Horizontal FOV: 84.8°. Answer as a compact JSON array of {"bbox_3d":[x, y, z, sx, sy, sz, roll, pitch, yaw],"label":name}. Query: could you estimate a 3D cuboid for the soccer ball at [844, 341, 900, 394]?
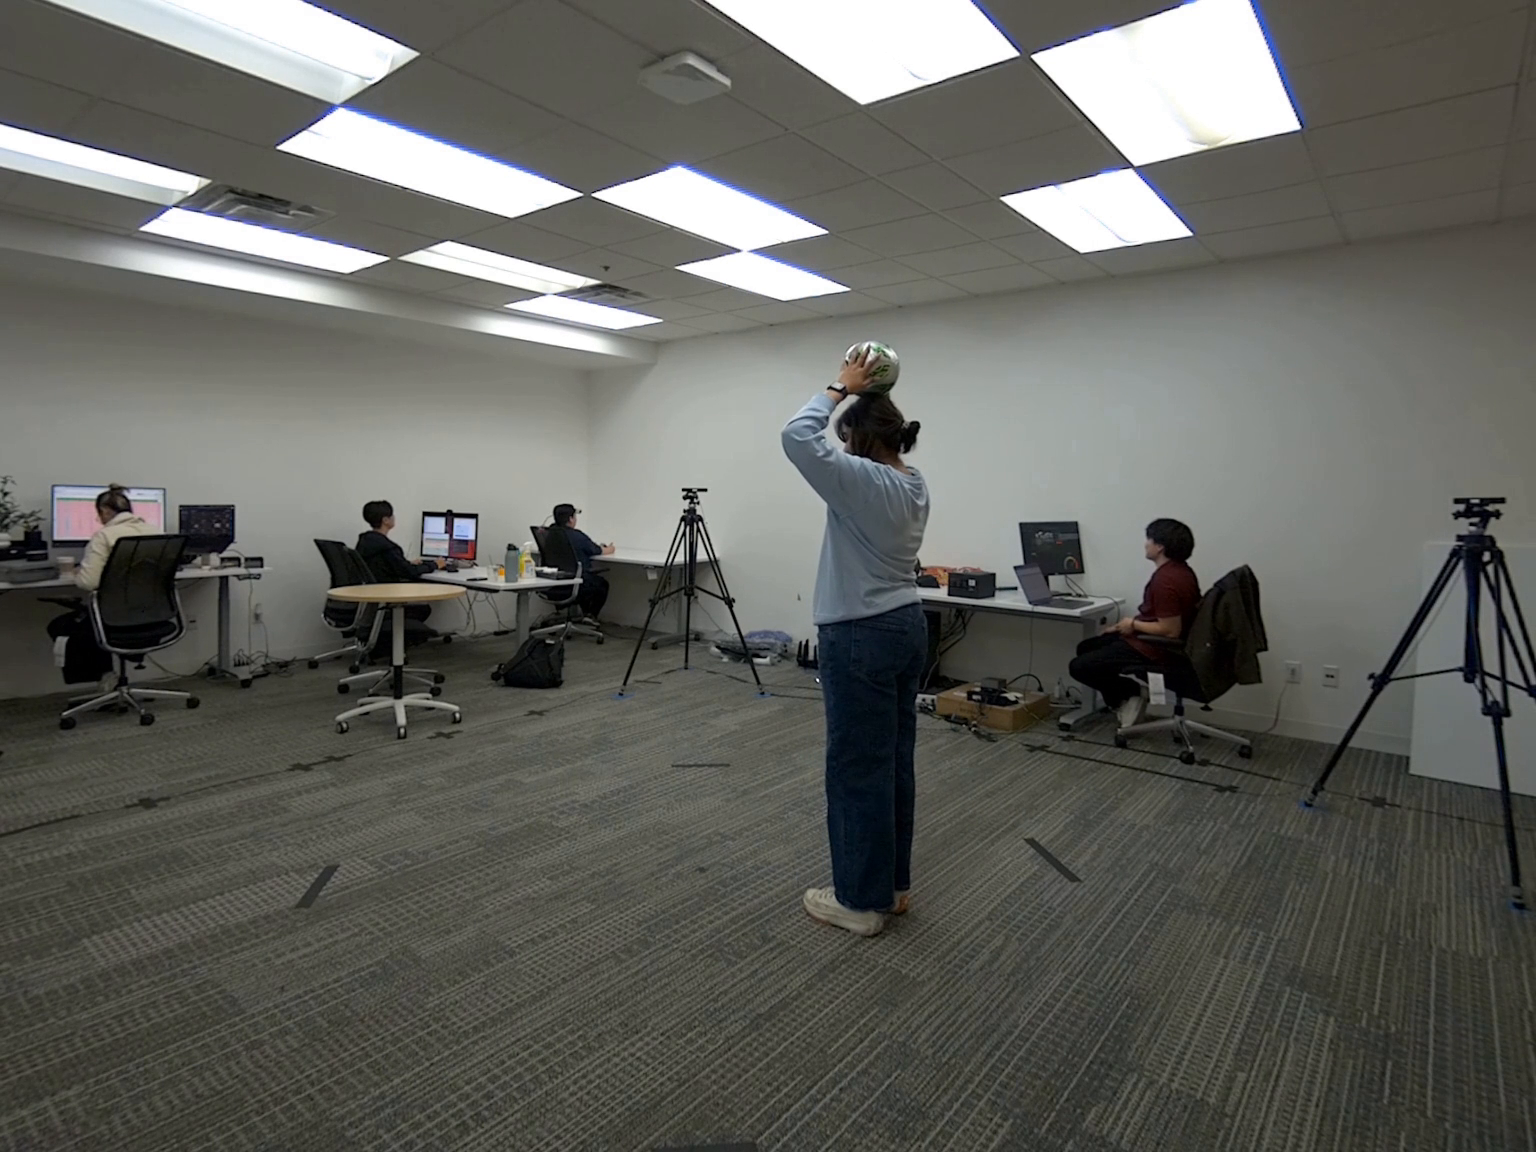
[{"bbox_3d":[0.327,-0.672,2.761,0.187,0.187,0.188,1,4,-2],"label":"soccer ball"}]
